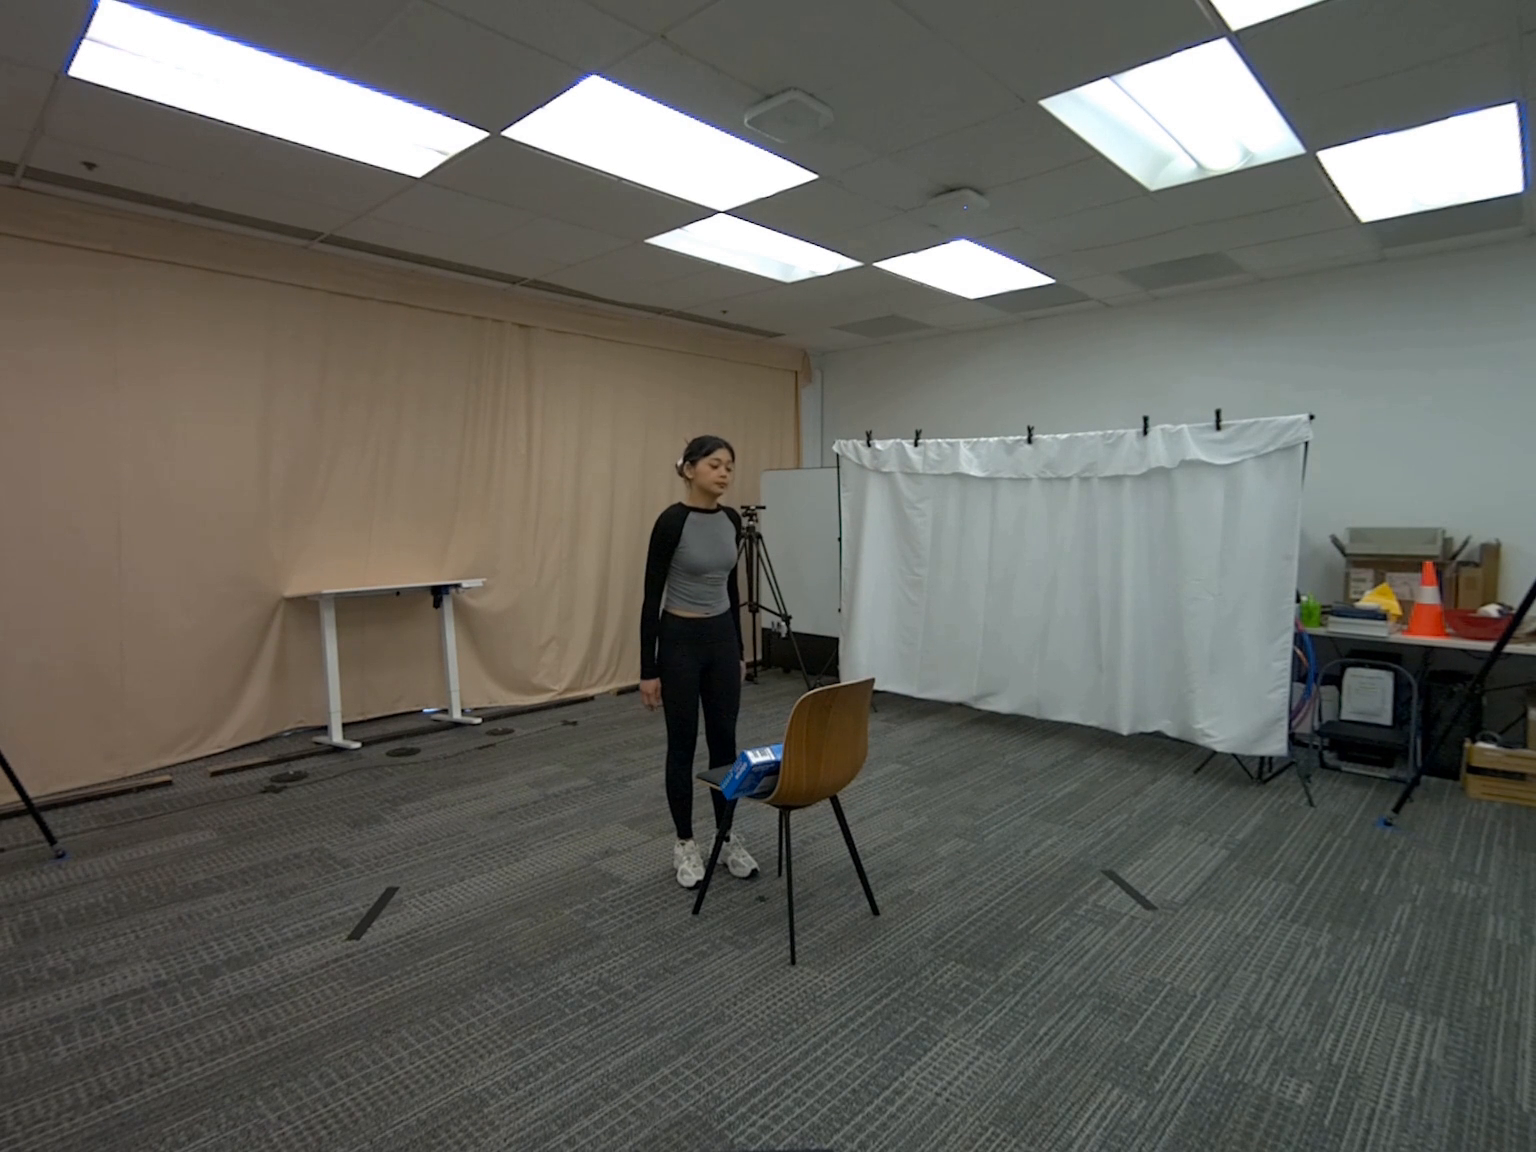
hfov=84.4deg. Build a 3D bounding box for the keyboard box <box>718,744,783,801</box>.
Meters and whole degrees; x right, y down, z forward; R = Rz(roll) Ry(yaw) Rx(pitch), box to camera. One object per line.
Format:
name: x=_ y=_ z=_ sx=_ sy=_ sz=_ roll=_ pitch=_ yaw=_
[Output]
keyboard box: x=0.065 y=0.609 z=2.679 sx=0.423 sy=0.176 sz=0.061 roll=0 pitch=42 yaw=-40
